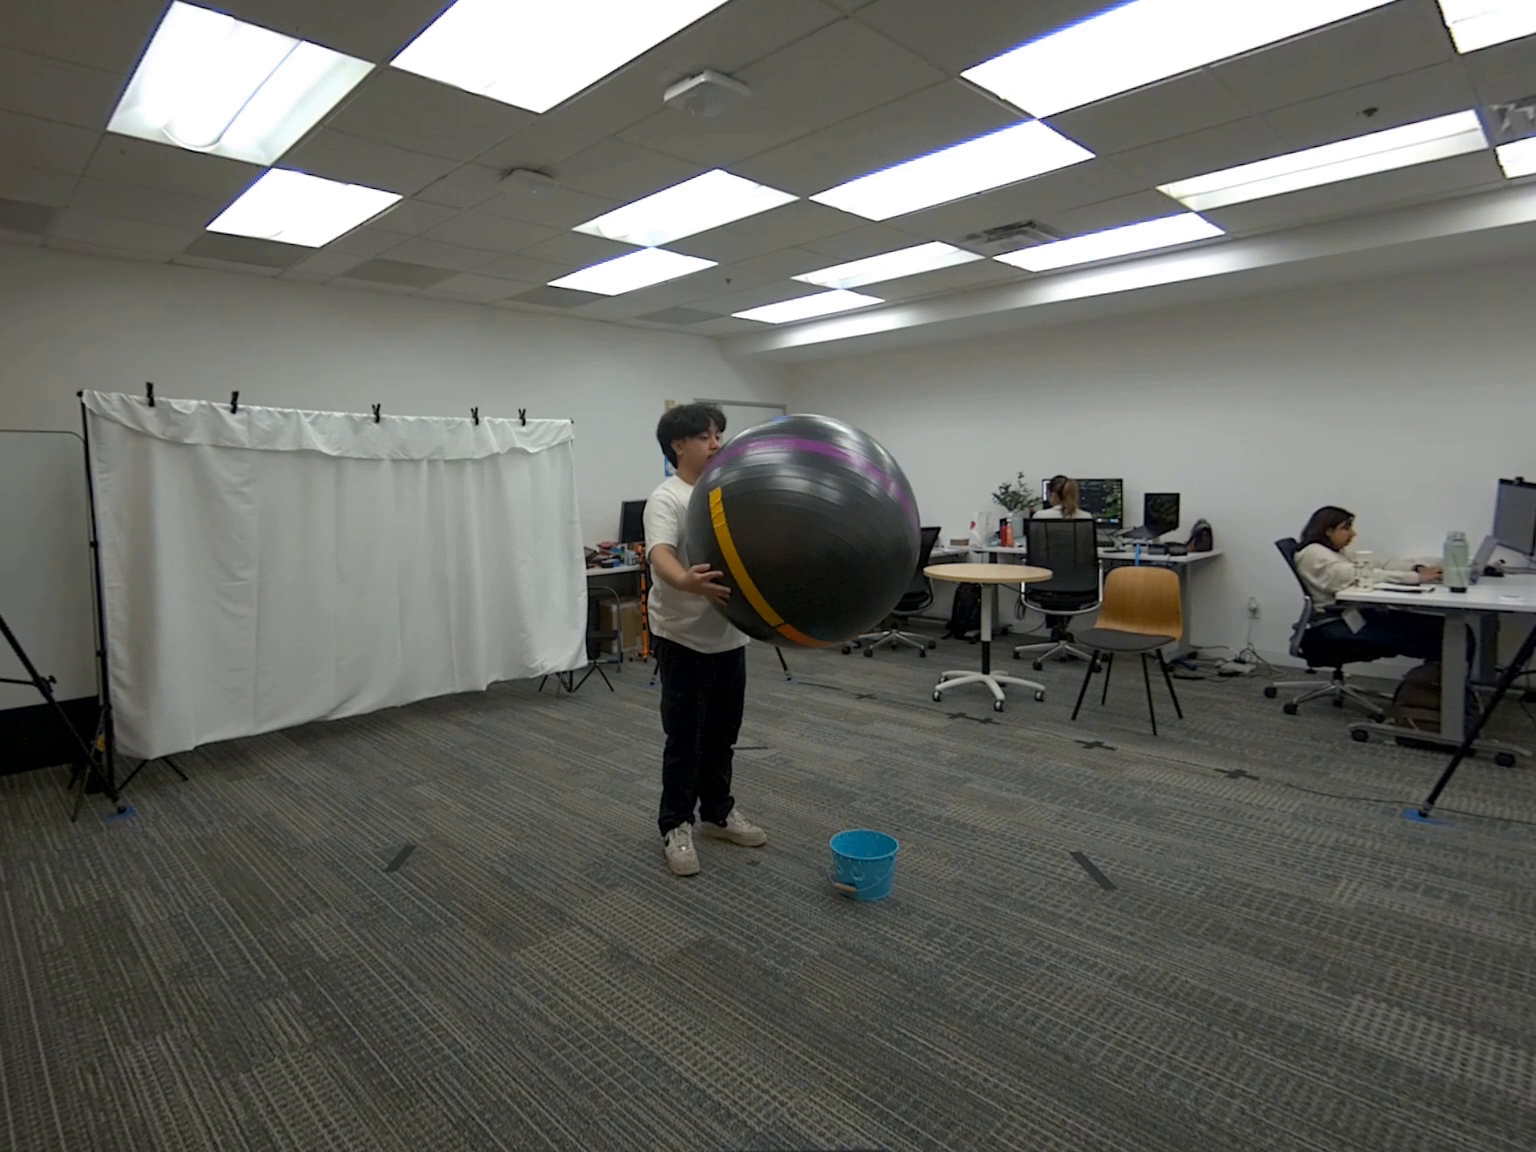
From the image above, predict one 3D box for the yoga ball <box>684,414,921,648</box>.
[{"bbox_3d":[0.110,-0.138,2.774,0.757,0.755,0.762,-1,5,-2],"label":"yoga ball"}]
